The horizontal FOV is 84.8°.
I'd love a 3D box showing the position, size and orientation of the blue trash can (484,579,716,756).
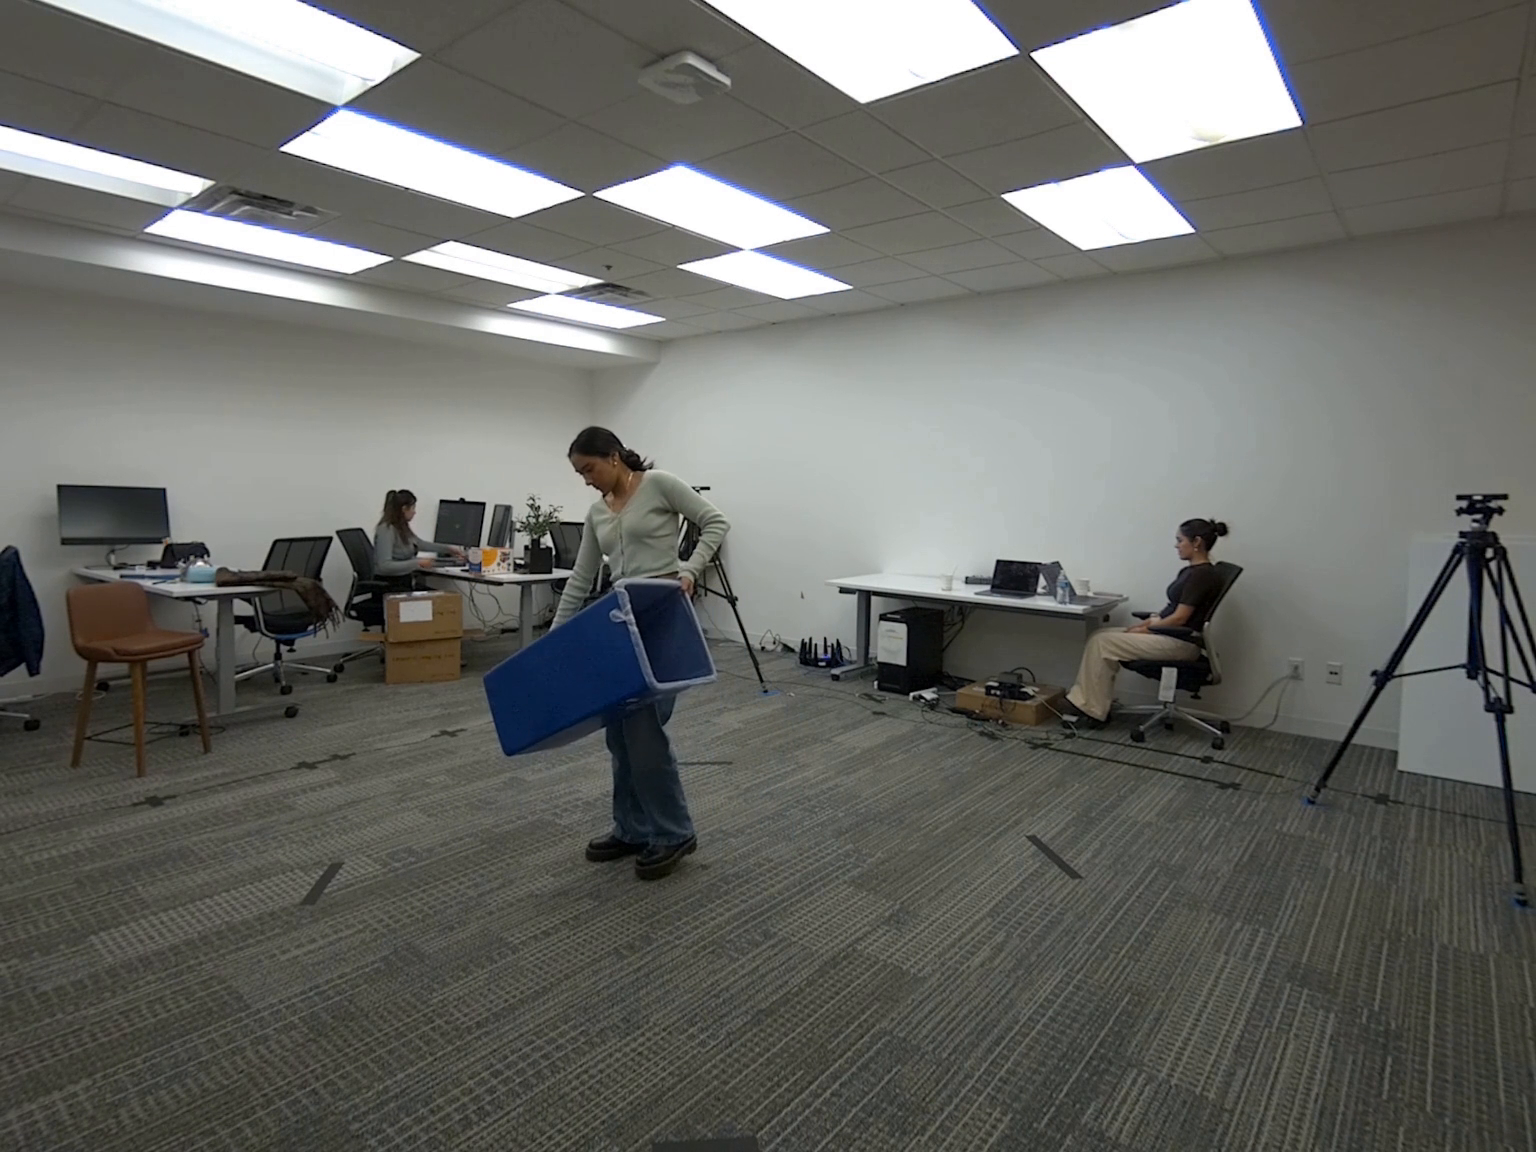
[{"bbox_3d":[-0.600,0.332,2.898,0.721,0.386,0.362,-30,-18,26],"label":"blue trash can"}]
